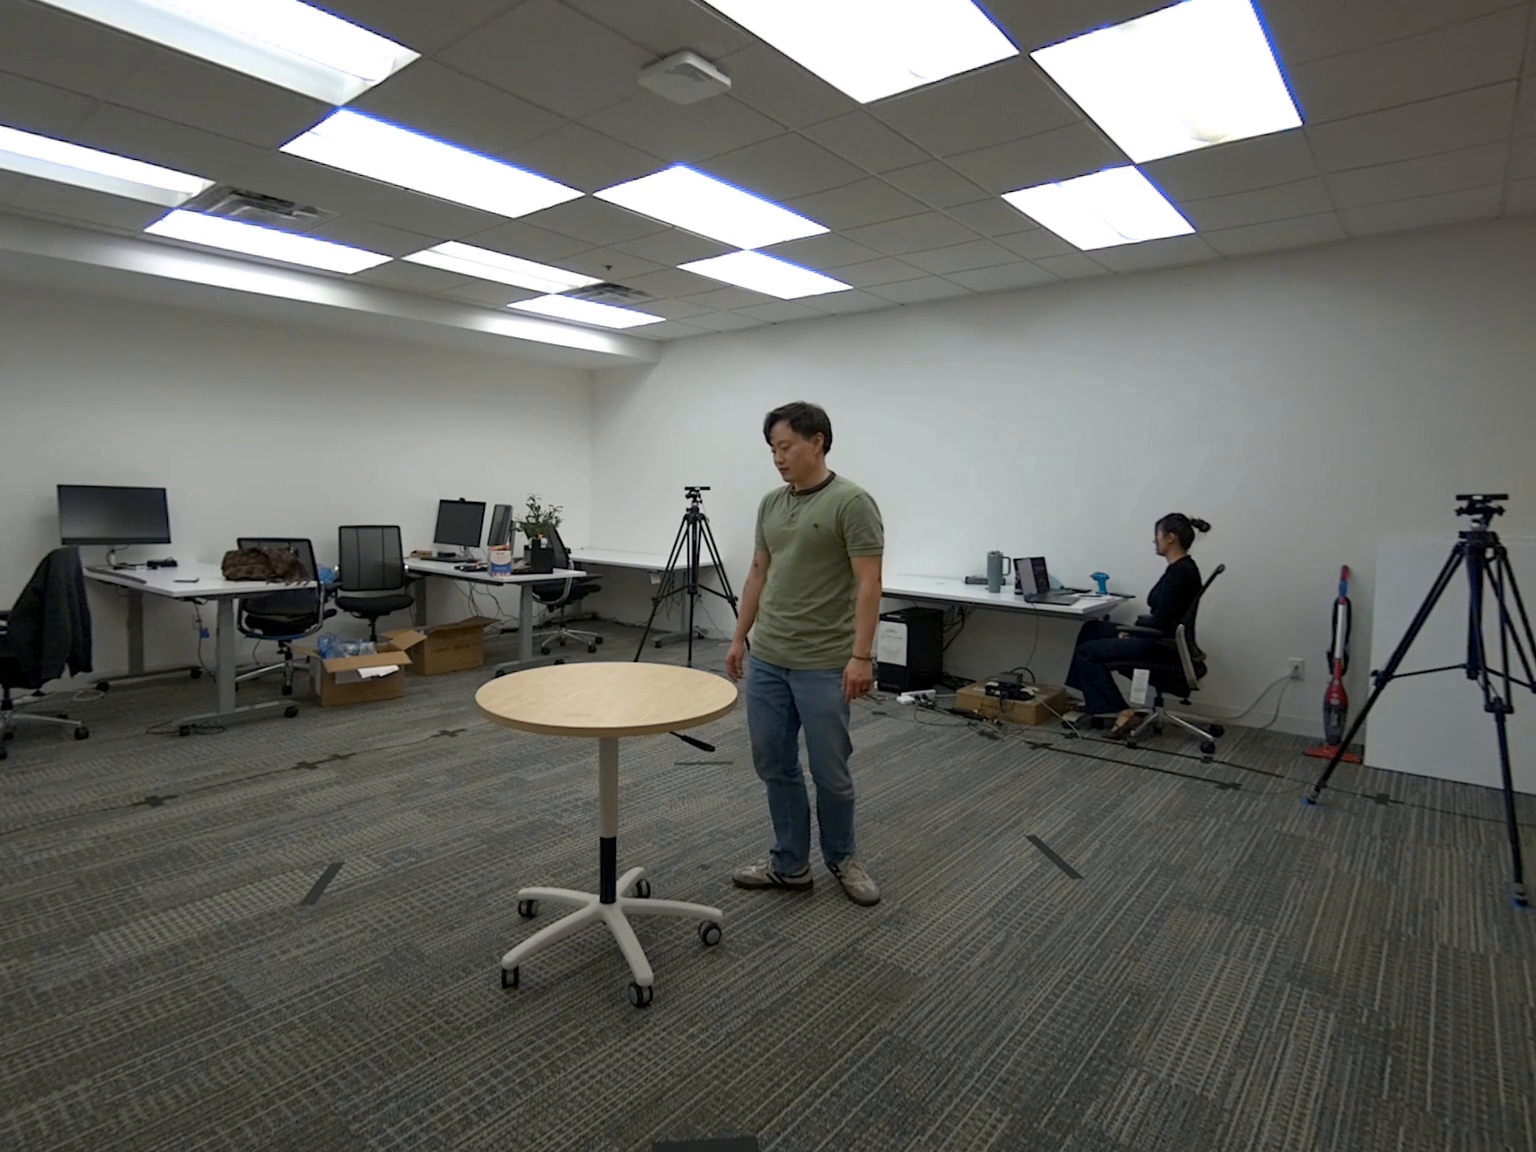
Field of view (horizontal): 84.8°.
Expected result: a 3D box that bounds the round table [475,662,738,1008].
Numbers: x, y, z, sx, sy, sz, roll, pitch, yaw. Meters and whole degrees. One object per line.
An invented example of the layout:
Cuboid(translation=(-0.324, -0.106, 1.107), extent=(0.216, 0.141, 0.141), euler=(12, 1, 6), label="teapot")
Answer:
Cuboid(translation=(-0.481, 0.727, 2.552), extent=(0.763, 0.791, 0.768), euler=(0, 5, -2), label="round table")
